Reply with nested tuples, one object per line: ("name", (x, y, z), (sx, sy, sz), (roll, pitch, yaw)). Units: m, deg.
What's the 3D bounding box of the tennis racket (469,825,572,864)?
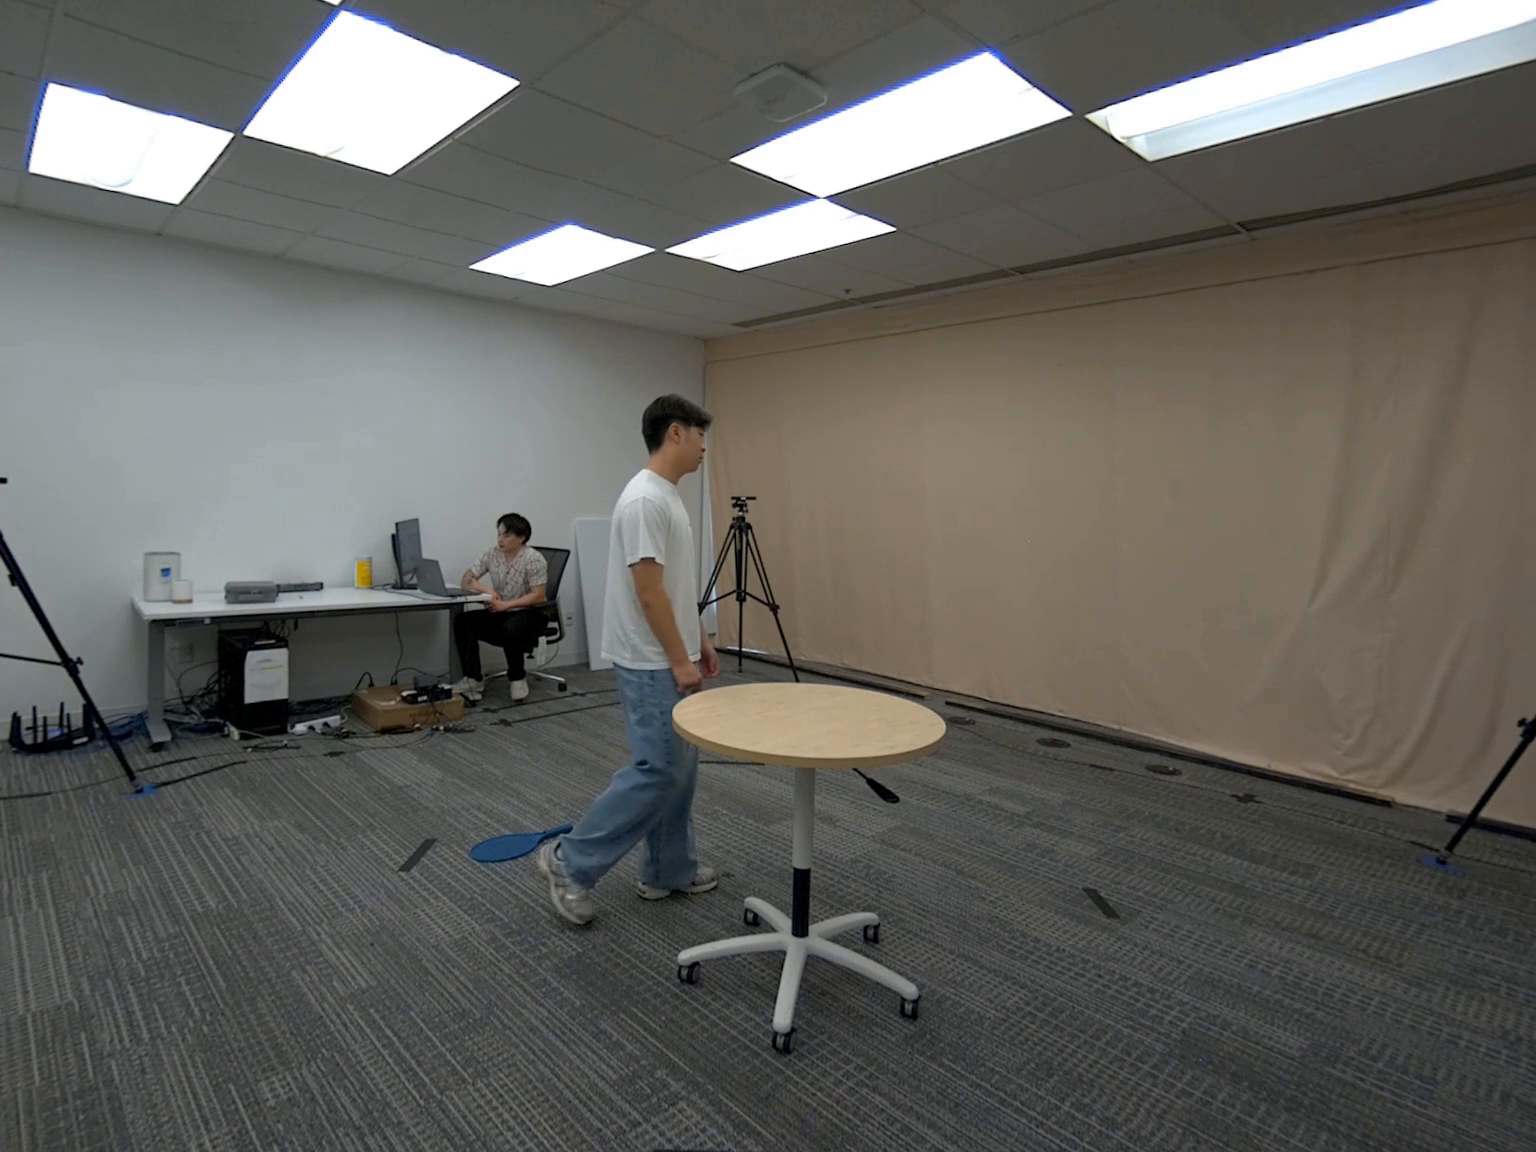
("tennis racket", (-0.973, 1.051, 3.333), (0.423, 0.031, 0.219), (-5, 9, -40))
